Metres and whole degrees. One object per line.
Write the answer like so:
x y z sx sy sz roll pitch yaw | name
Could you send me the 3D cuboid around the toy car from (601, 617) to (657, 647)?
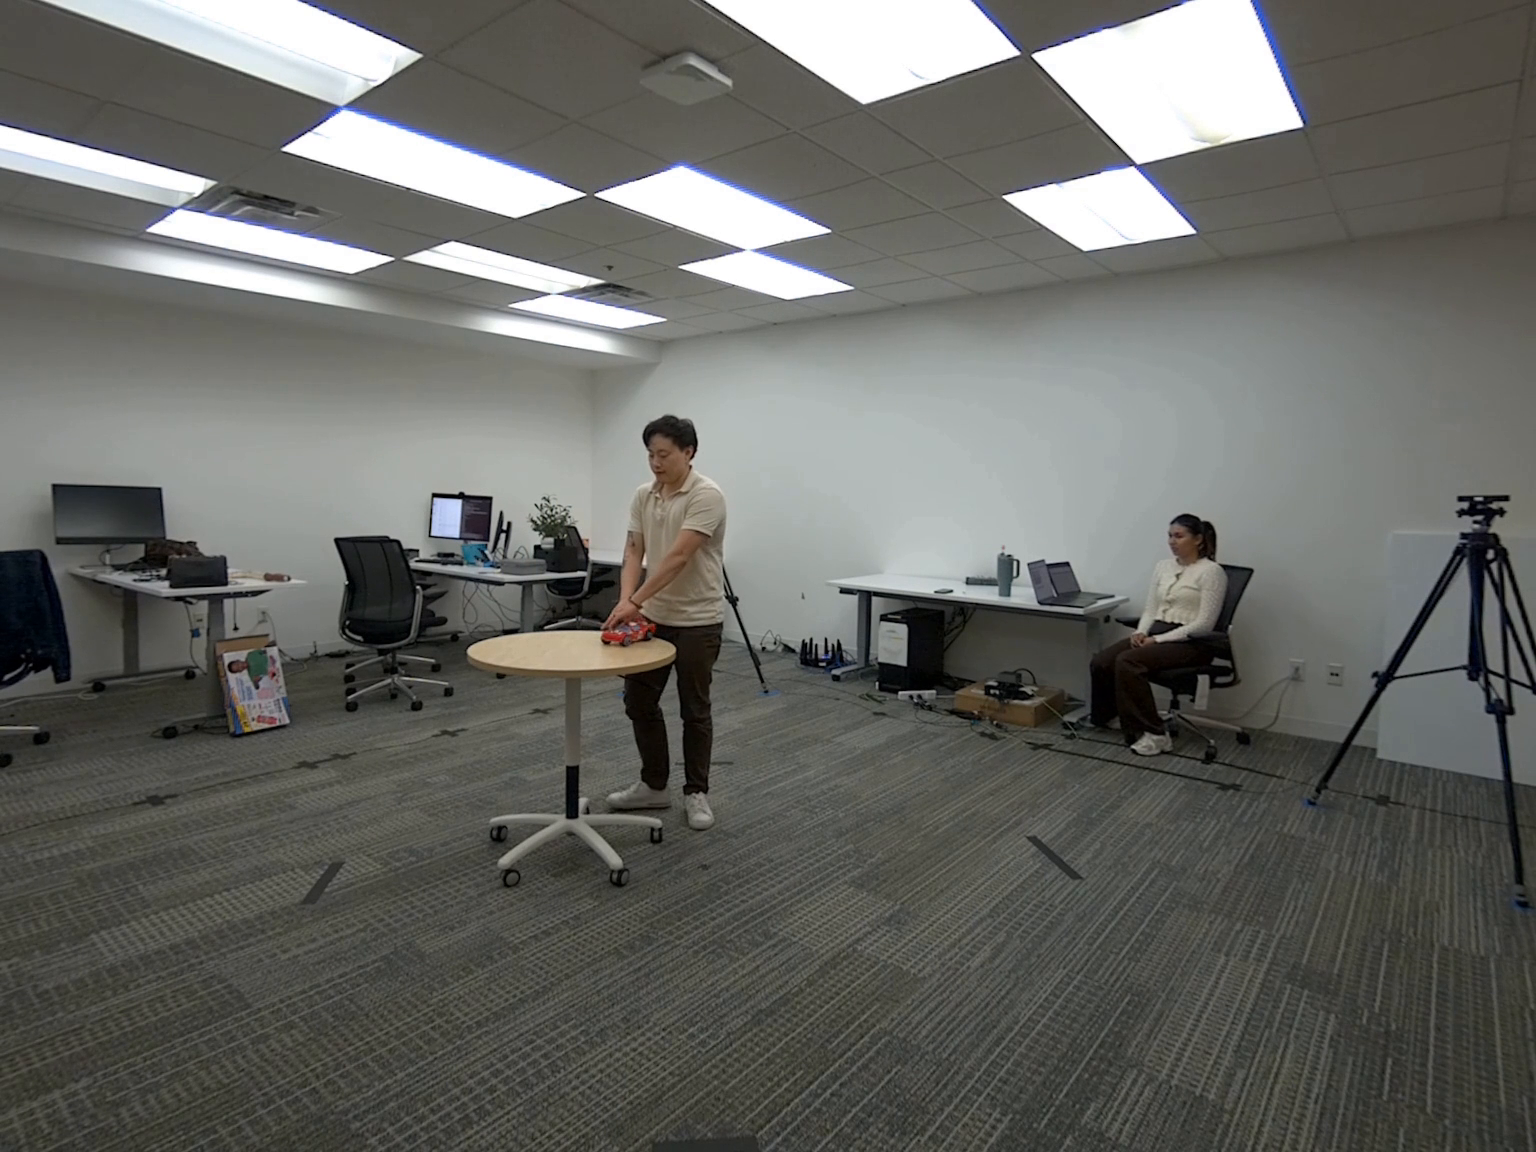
-0.555 0.224 3.337 0.134 0.082 0.251 2 16 27 | toy car
